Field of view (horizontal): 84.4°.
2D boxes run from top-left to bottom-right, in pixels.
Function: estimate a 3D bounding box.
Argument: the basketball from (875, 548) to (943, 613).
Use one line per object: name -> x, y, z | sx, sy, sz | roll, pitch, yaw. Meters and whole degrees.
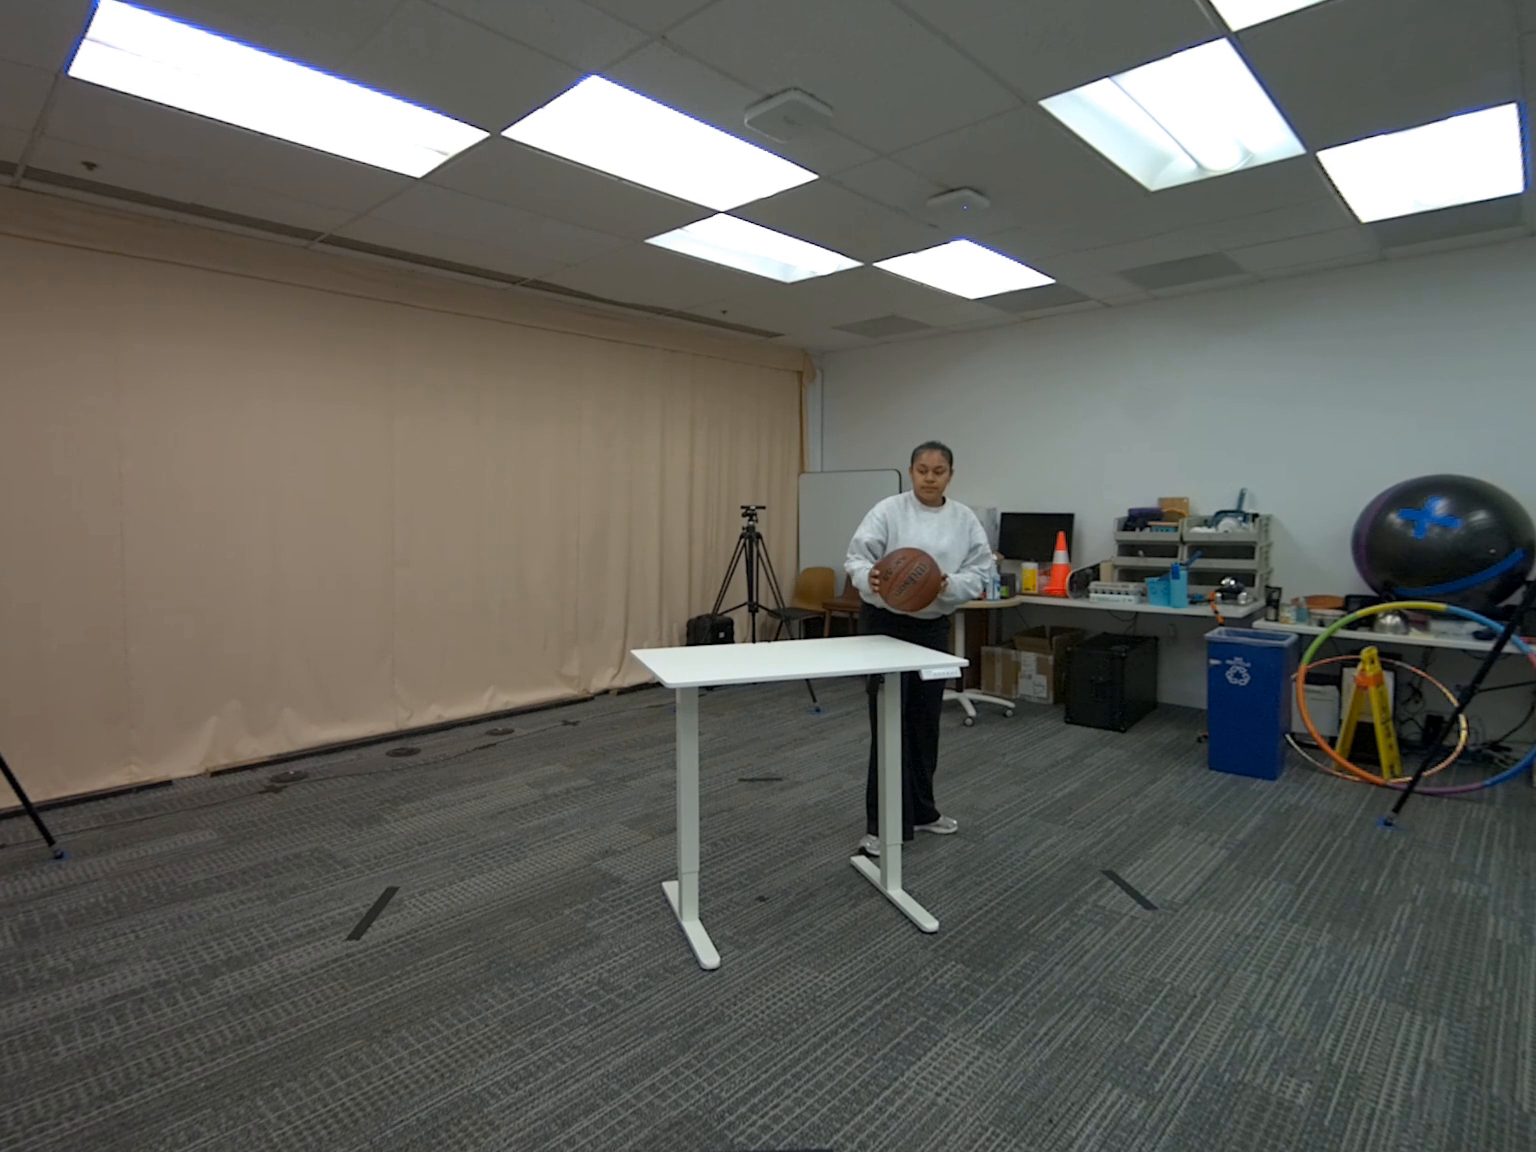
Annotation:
basketball -> 0.520, 0.022, 3.112 | 0.236, 0.235, 0.237 | 0, 4, -2
